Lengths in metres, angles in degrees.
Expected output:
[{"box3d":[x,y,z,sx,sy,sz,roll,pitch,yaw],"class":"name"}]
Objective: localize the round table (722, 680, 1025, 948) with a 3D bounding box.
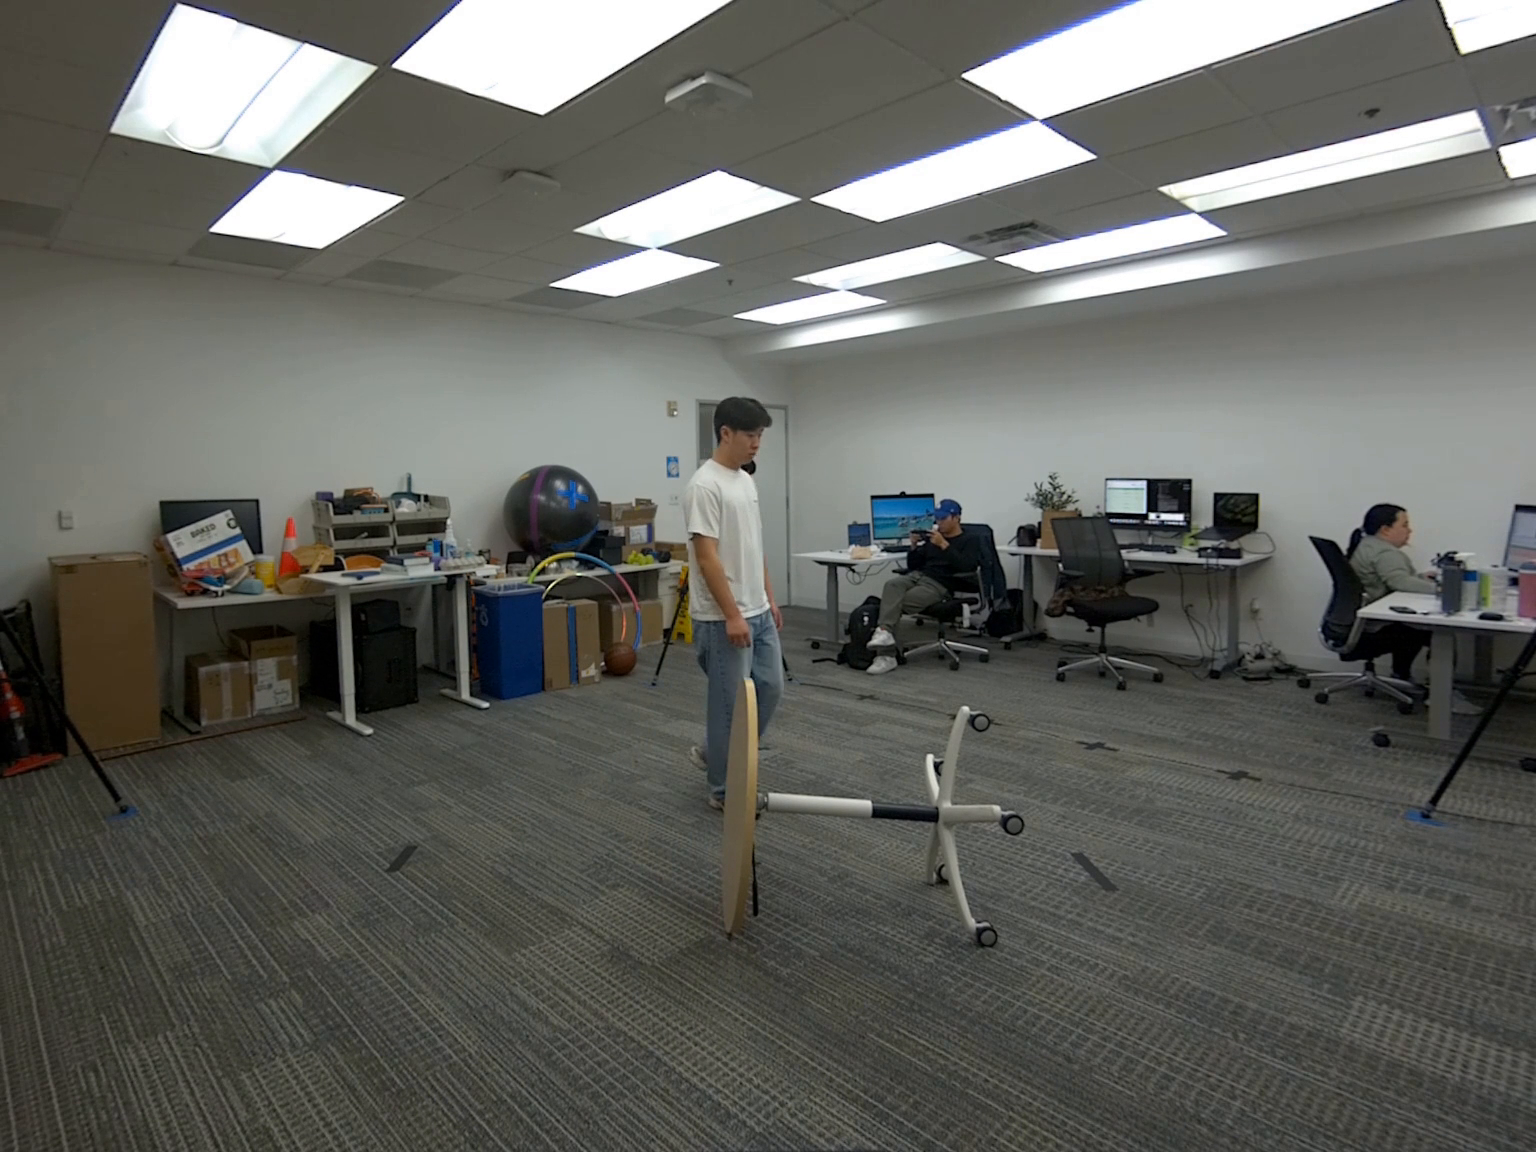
[{"box3d":[0.286,0.740,2.733,0.782,0.783,0.792,4,4,-6],"class":"round table"}]
